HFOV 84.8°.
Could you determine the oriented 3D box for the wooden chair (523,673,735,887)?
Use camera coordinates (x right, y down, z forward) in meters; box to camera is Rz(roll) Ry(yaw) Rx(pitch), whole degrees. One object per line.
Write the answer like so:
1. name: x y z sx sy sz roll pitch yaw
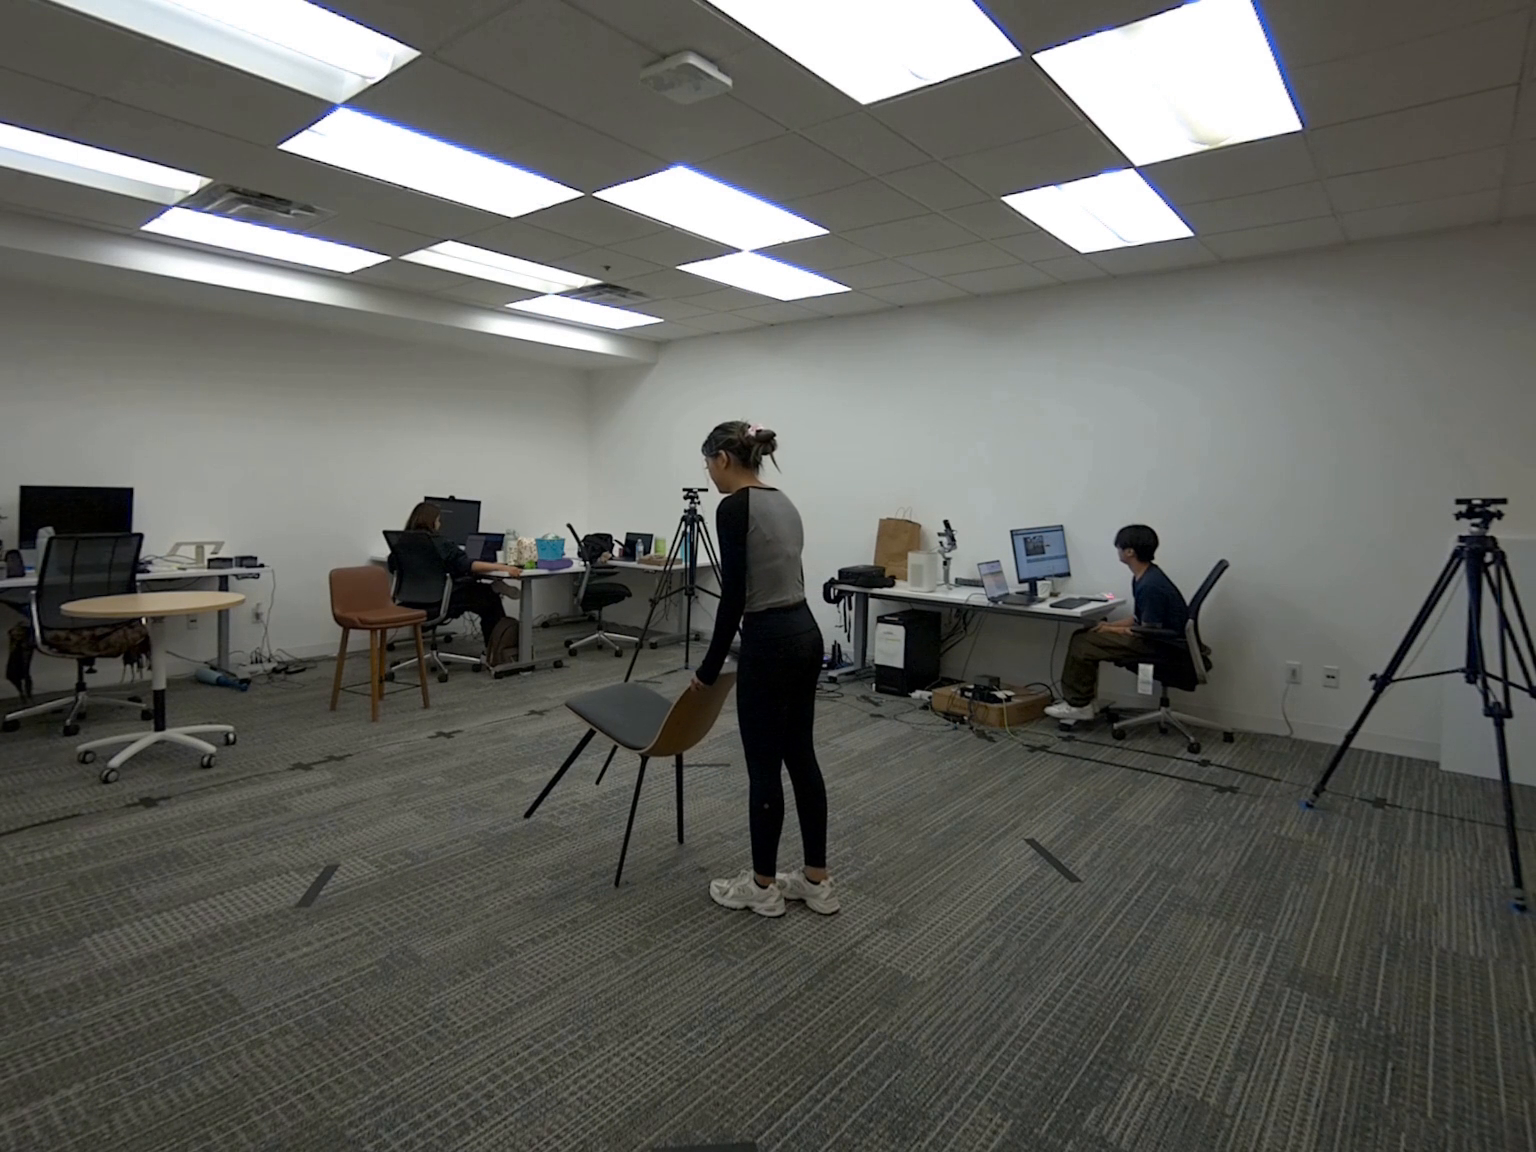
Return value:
1. wooden chair: -0.493 0.583 3.149 0.540 0.871 0.466 31 16 23
